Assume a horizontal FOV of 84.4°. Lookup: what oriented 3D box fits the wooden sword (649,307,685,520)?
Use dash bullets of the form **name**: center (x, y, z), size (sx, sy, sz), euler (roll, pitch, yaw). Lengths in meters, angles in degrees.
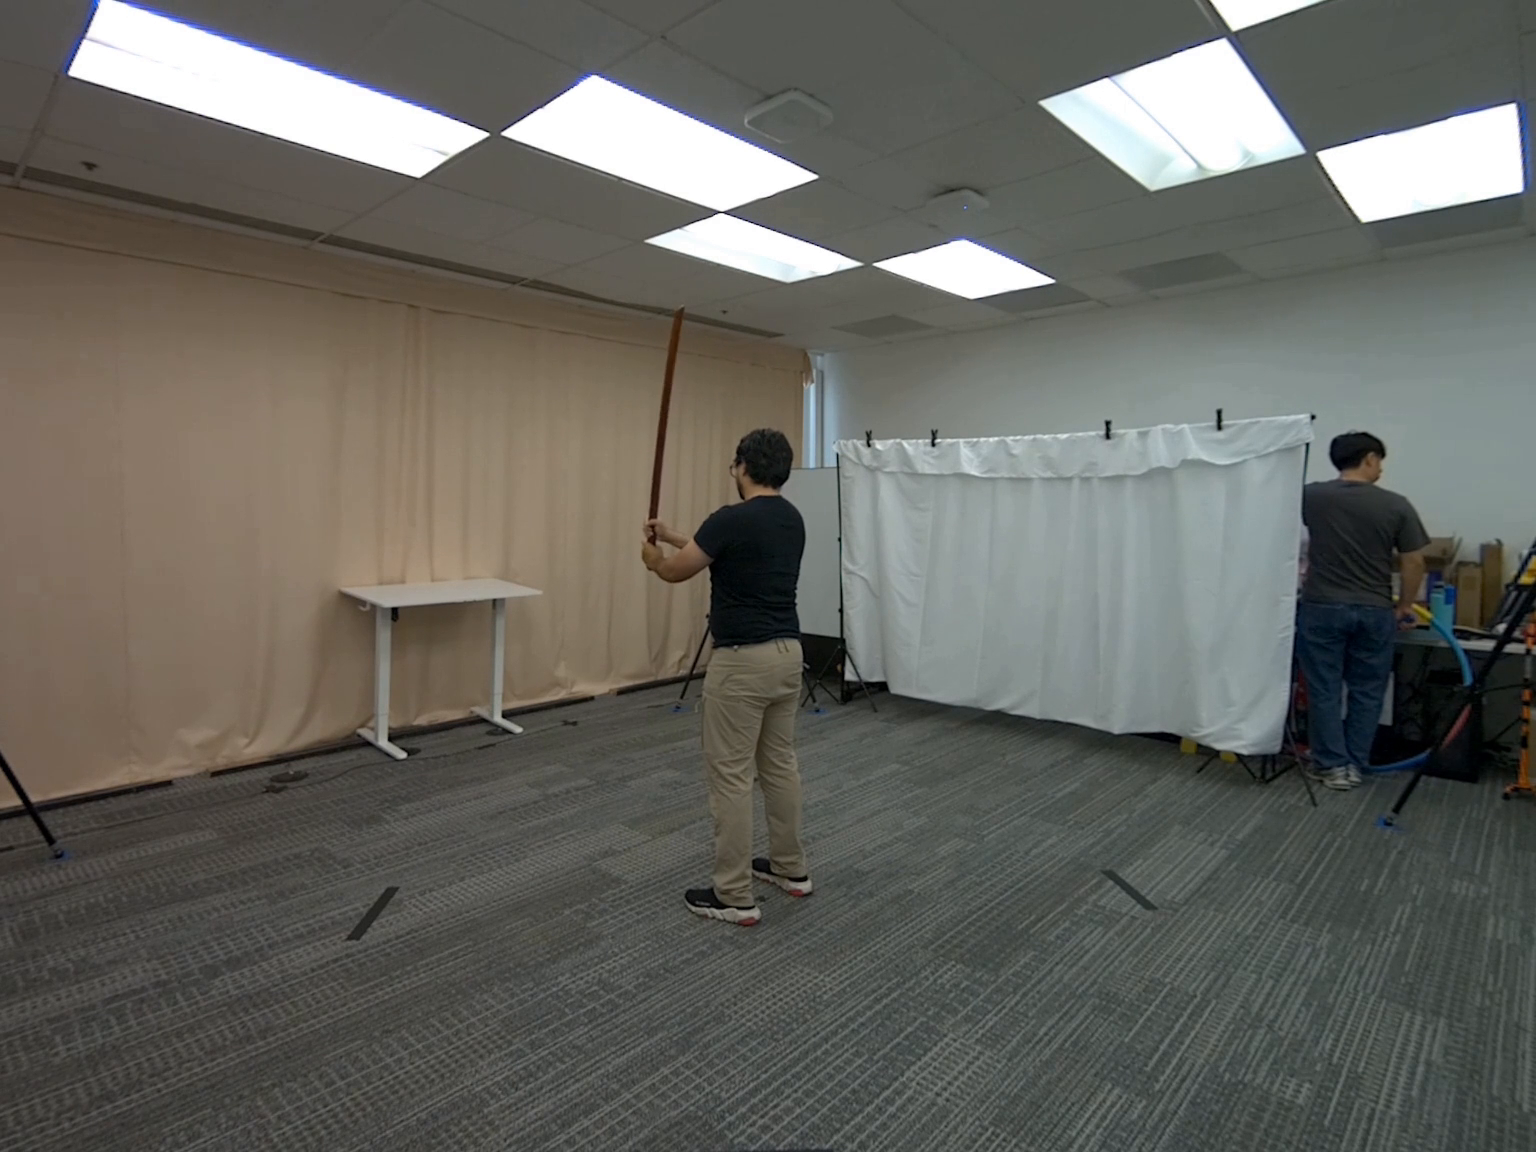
- **wooden sword**: center (-0.387, -0.467, 3.032), size (0.024, 1.013, 0.051), euler (18, 31, 11)
